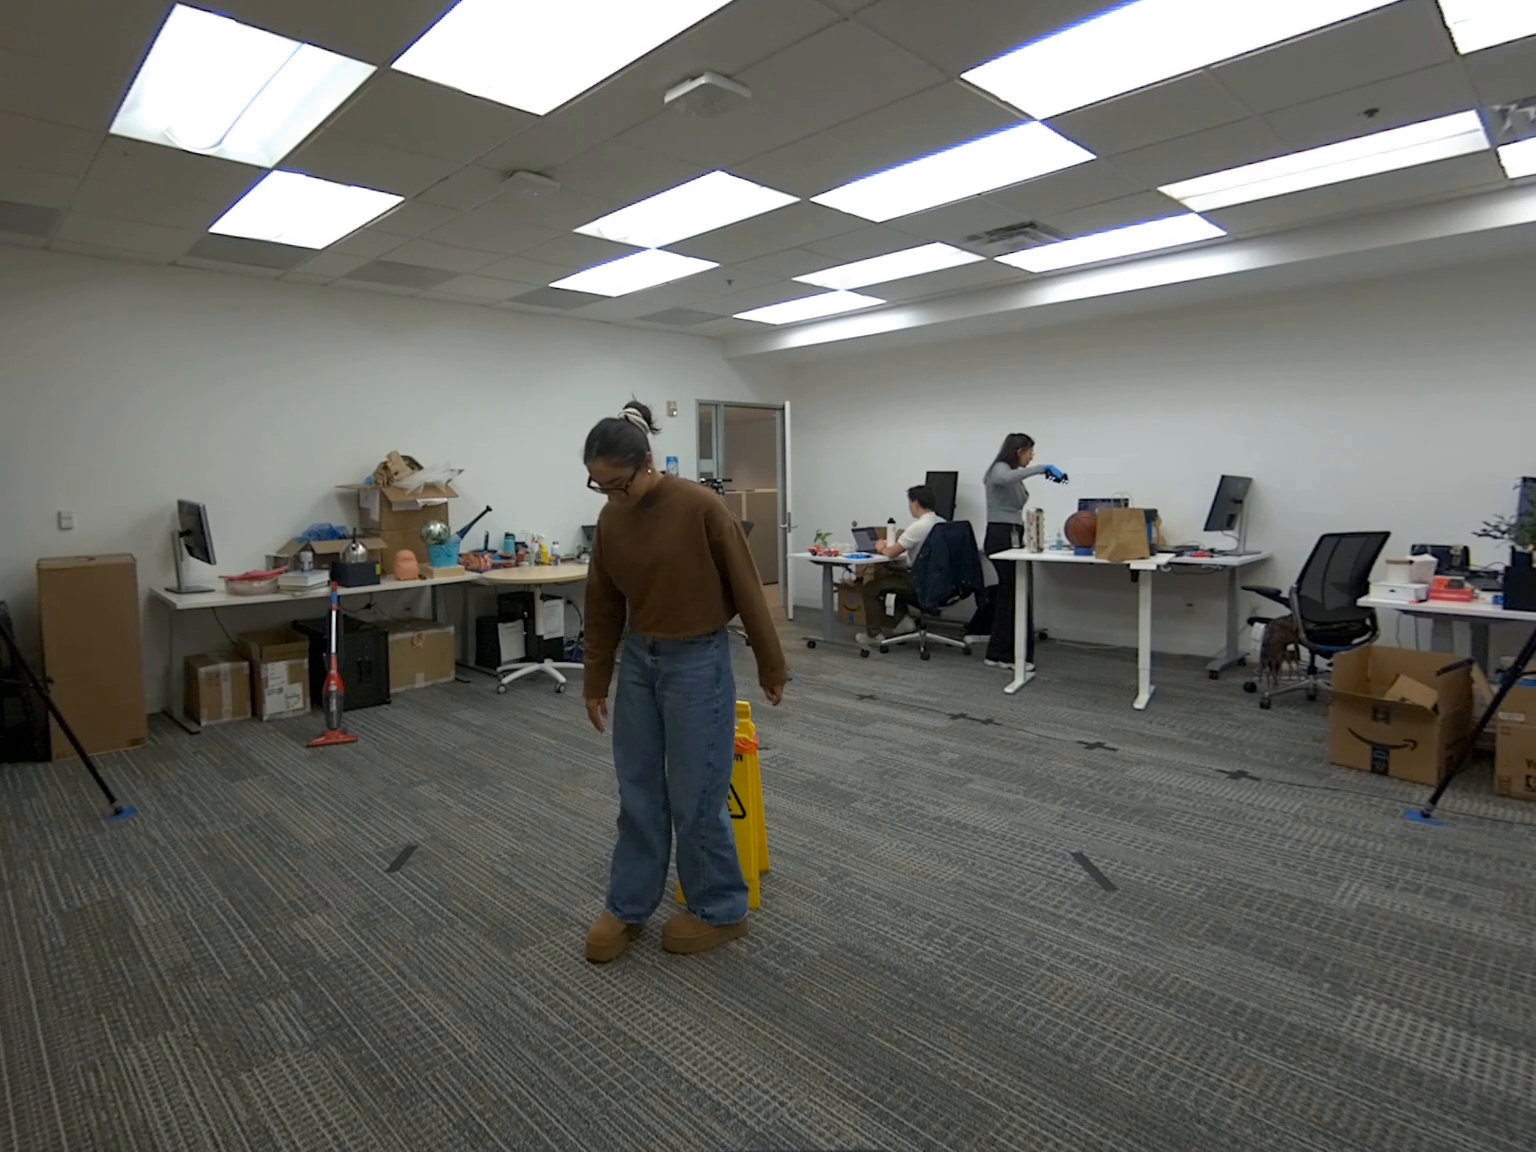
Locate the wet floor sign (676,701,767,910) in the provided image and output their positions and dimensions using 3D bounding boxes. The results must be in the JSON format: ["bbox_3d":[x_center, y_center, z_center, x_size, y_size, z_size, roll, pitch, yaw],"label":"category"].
[{"bbox_3d":[-0.139,0.750,2.910,0.285,0.643,0.288,-1,4,9],"label":"wet floor sign"}]
